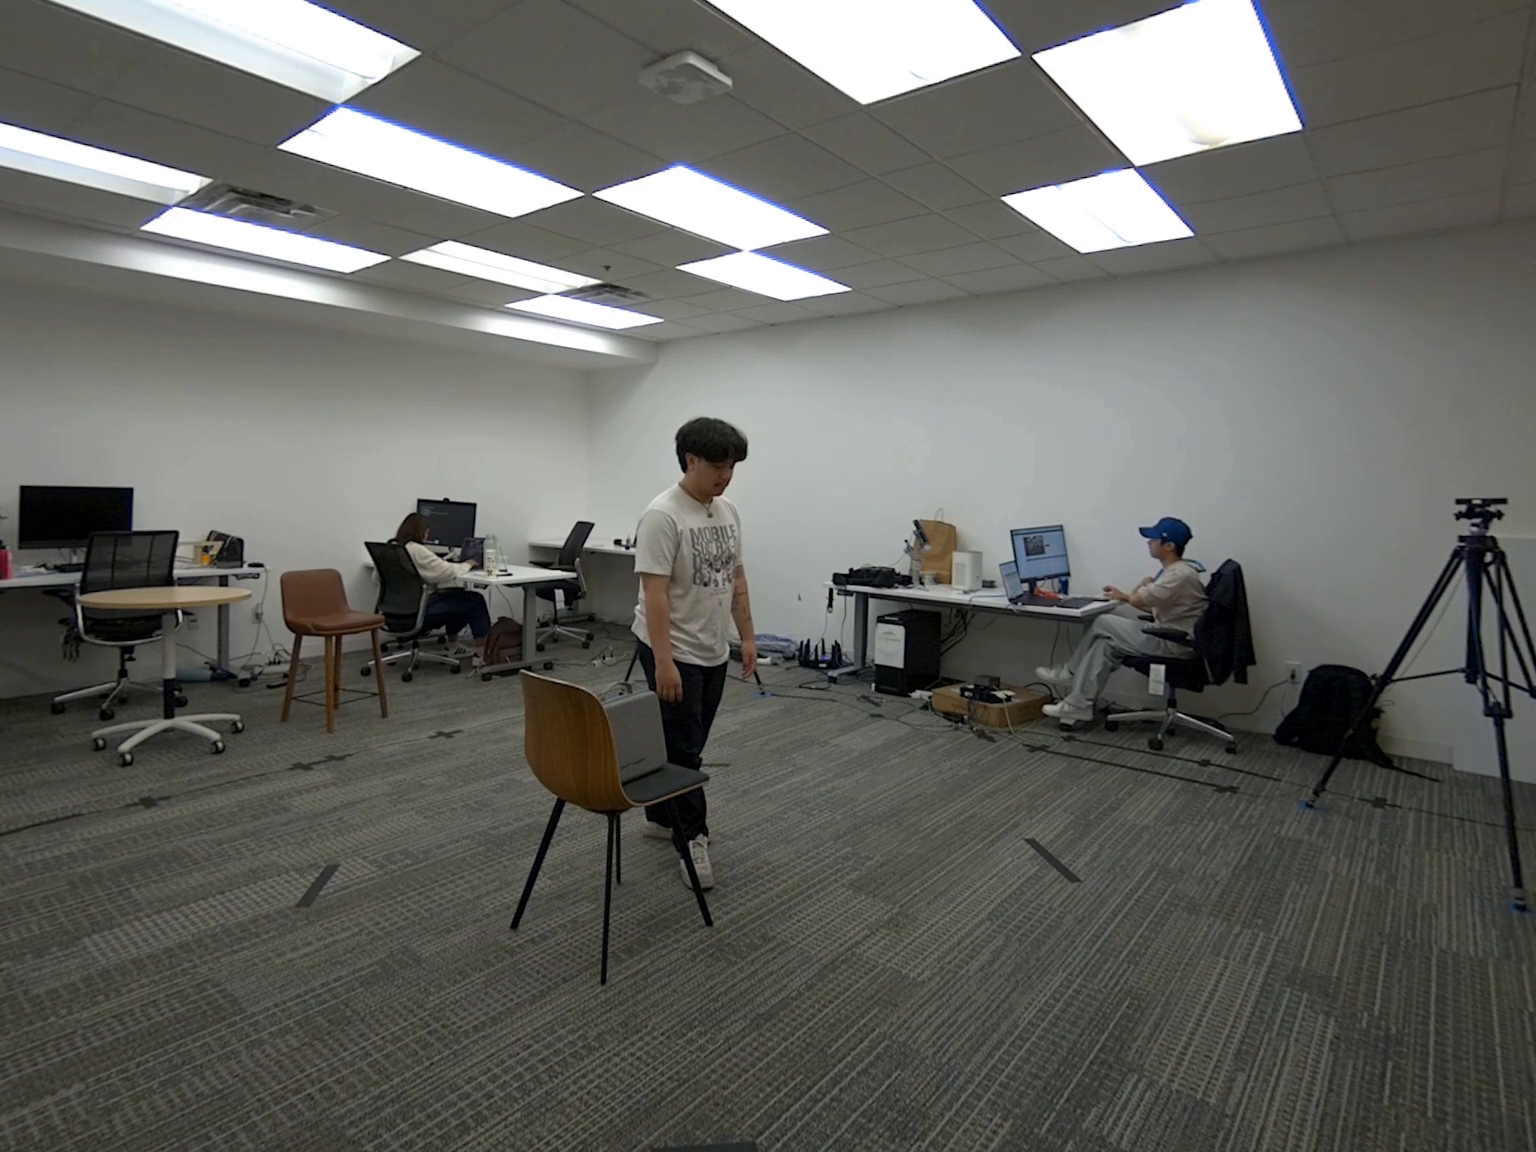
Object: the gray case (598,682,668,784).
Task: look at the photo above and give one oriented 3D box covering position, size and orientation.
[{"bbox_3d":[-0.460,0.504,2.683,0.107,0.261,0.250,-9,0,43],"label":"gray case"}]
